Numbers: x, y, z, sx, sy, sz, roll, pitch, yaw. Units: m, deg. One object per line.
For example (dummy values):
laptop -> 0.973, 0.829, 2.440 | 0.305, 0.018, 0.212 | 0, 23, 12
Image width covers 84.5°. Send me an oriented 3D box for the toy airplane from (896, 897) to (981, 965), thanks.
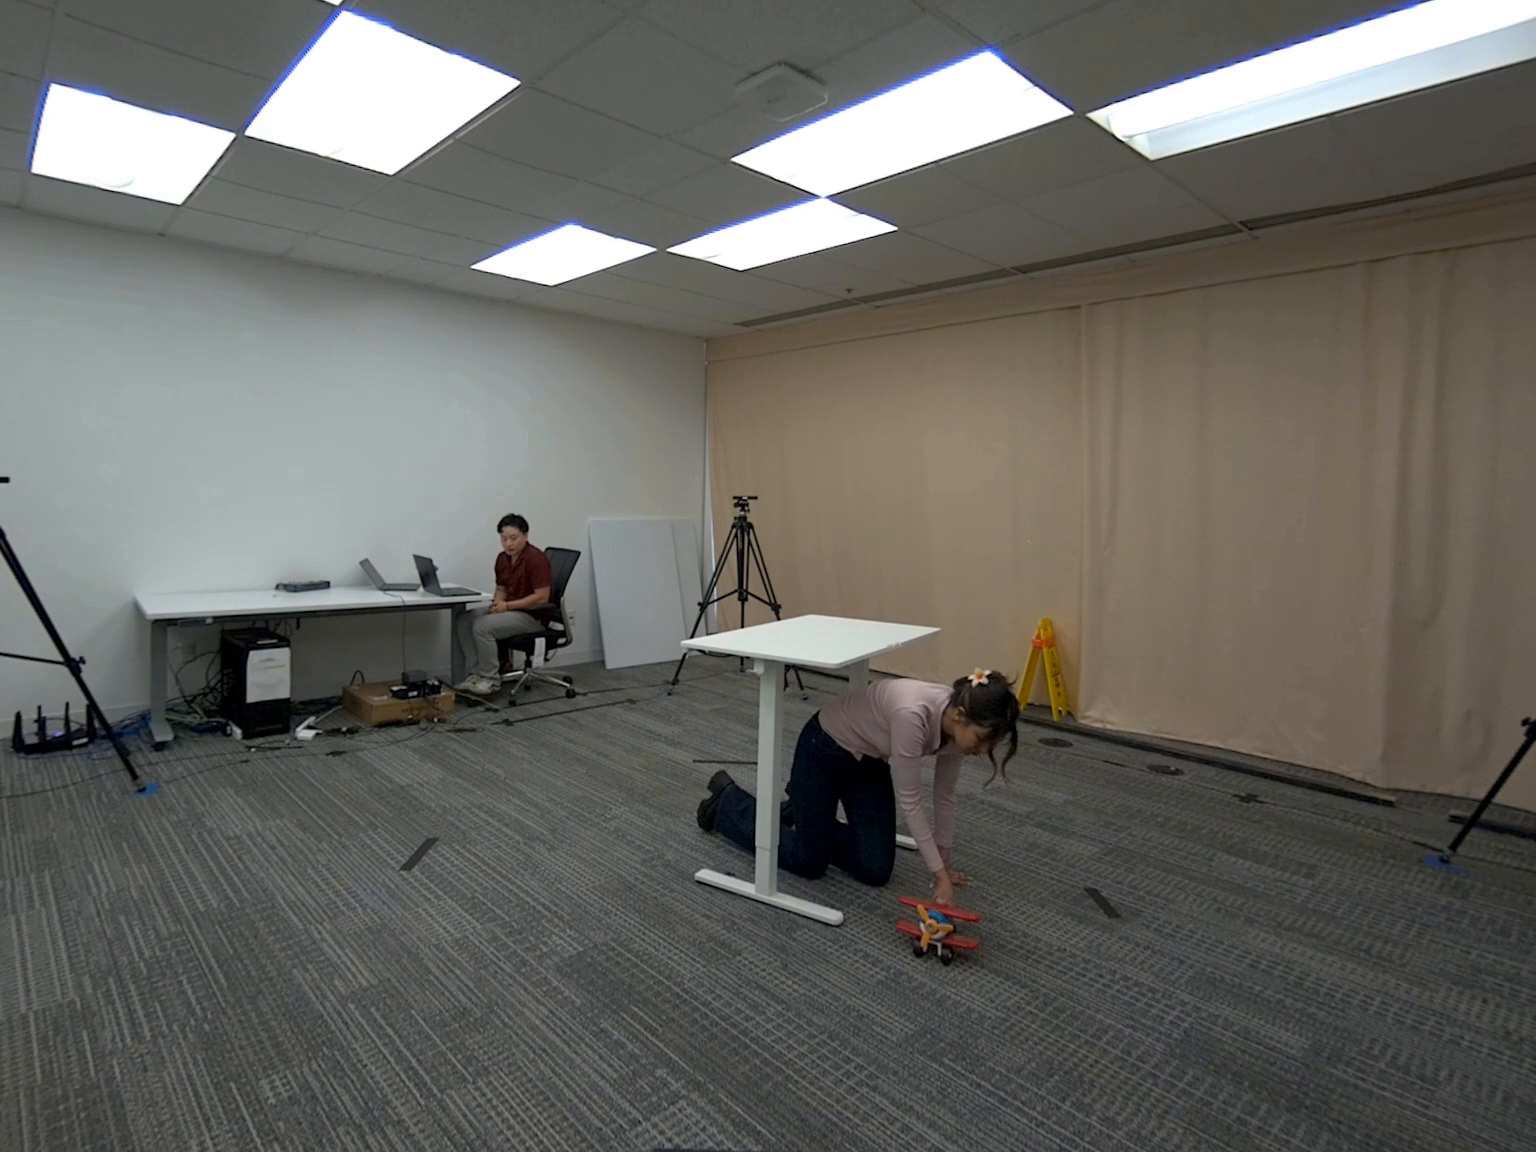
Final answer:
toy airplane -> 0.508, 1.090, 2.644 | 0.251, 0.156, 0.260 | 3, 6, -2
